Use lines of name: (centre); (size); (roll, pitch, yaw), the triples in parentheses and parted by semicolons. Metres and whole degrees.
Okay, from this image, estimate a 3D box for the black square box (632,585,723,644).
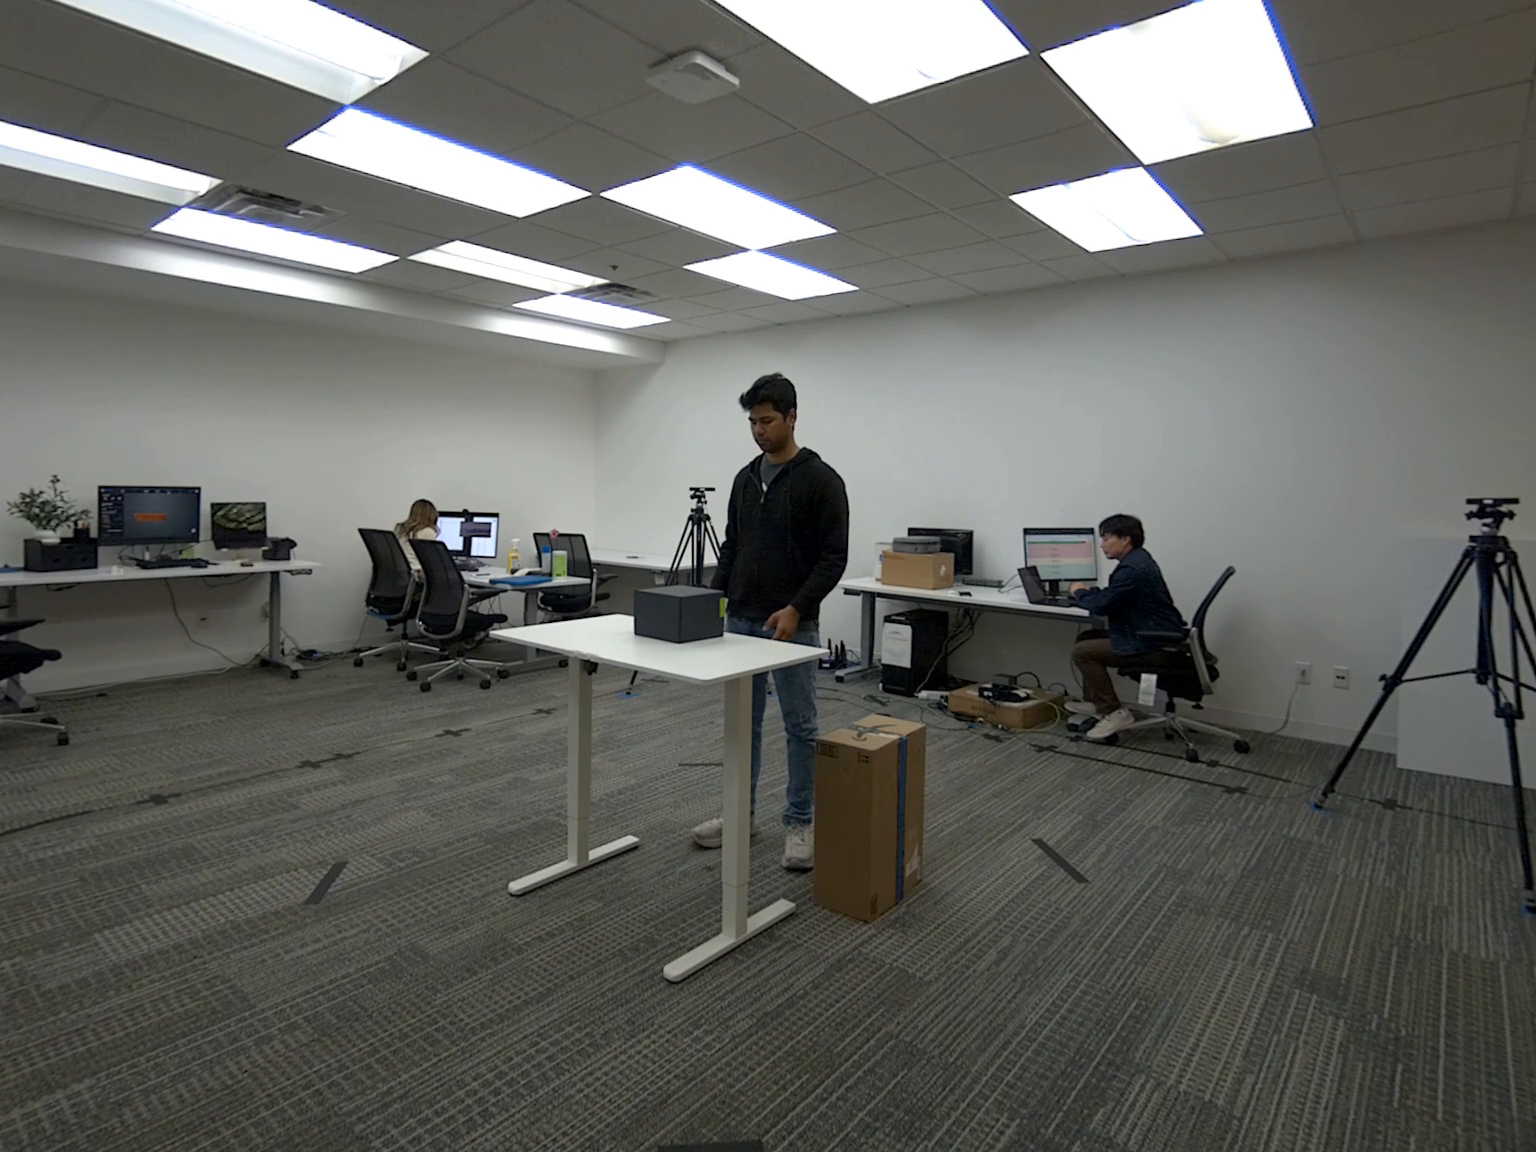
black square box: (-0.310, 0.122, 2.900); (0.236, 0.155, 0.210); (6, 6, 41)
